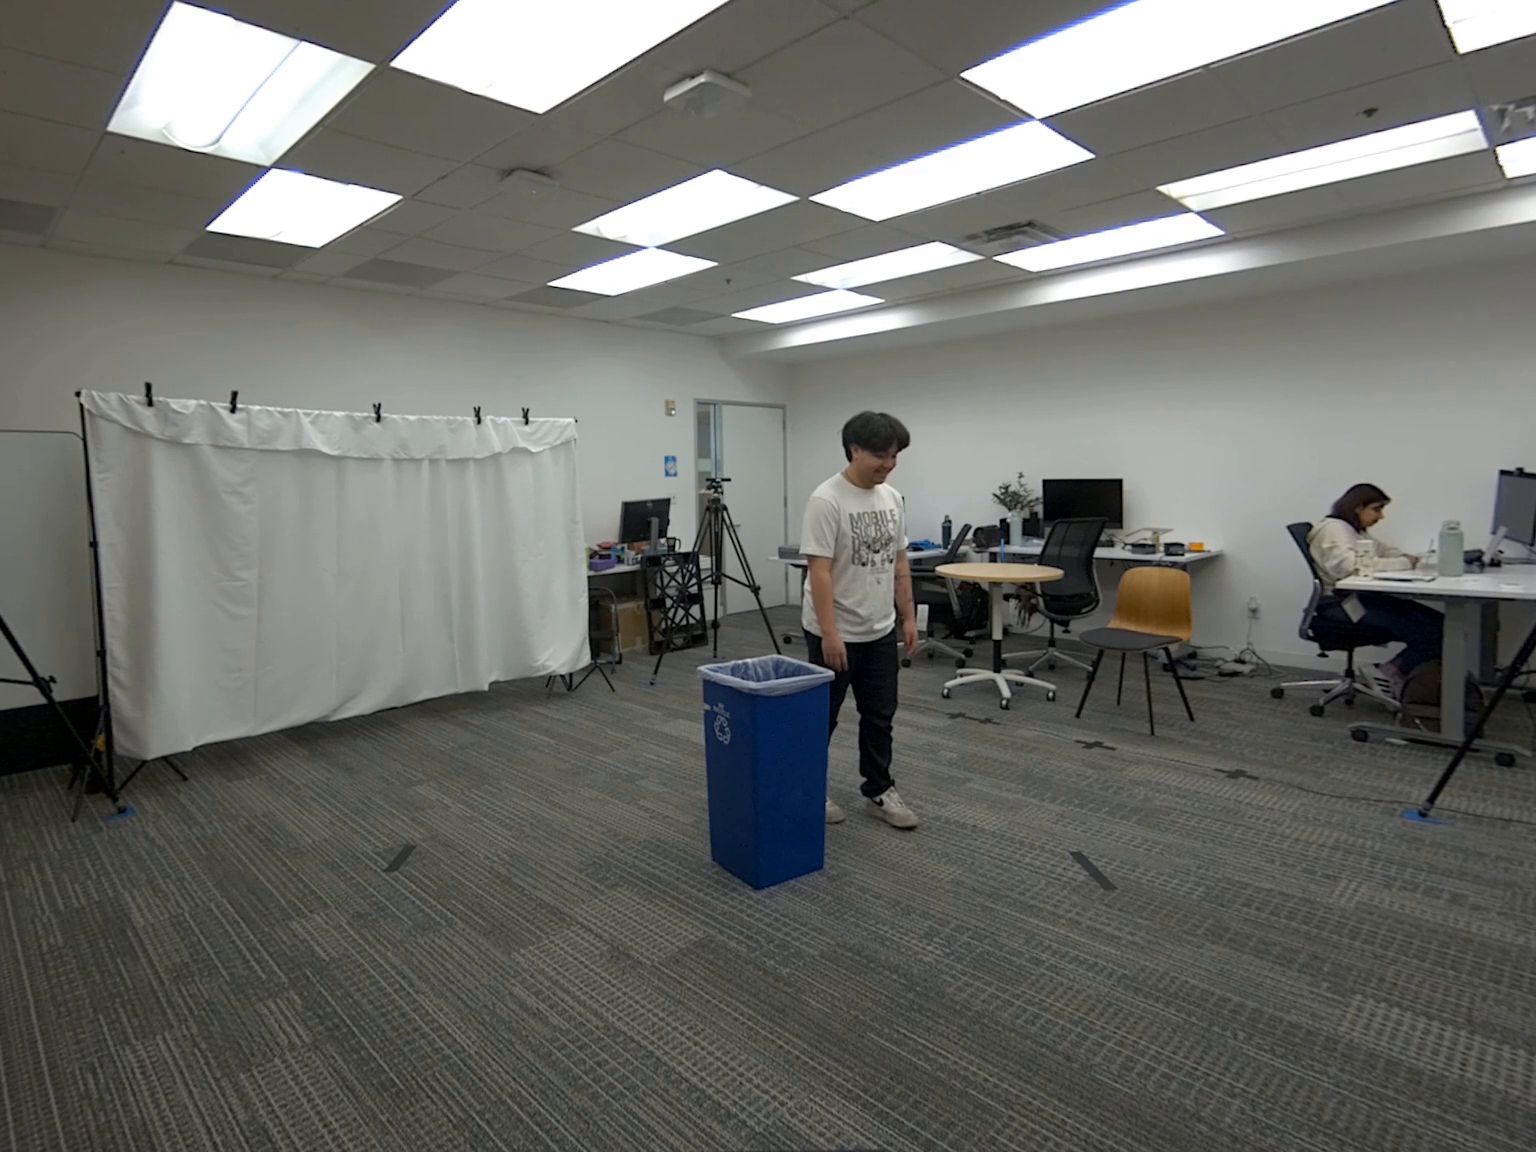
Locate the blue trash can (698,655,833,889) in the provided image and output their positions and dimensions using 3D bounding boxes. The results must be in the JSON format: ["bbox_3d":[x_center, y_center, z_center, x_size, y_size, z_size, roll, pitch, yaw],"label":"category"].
[{"bbox_3d":[0.000,0.687,3.069,0.368,0.711,0.385,-4,5,-35],"label":"blue trash can"}]
